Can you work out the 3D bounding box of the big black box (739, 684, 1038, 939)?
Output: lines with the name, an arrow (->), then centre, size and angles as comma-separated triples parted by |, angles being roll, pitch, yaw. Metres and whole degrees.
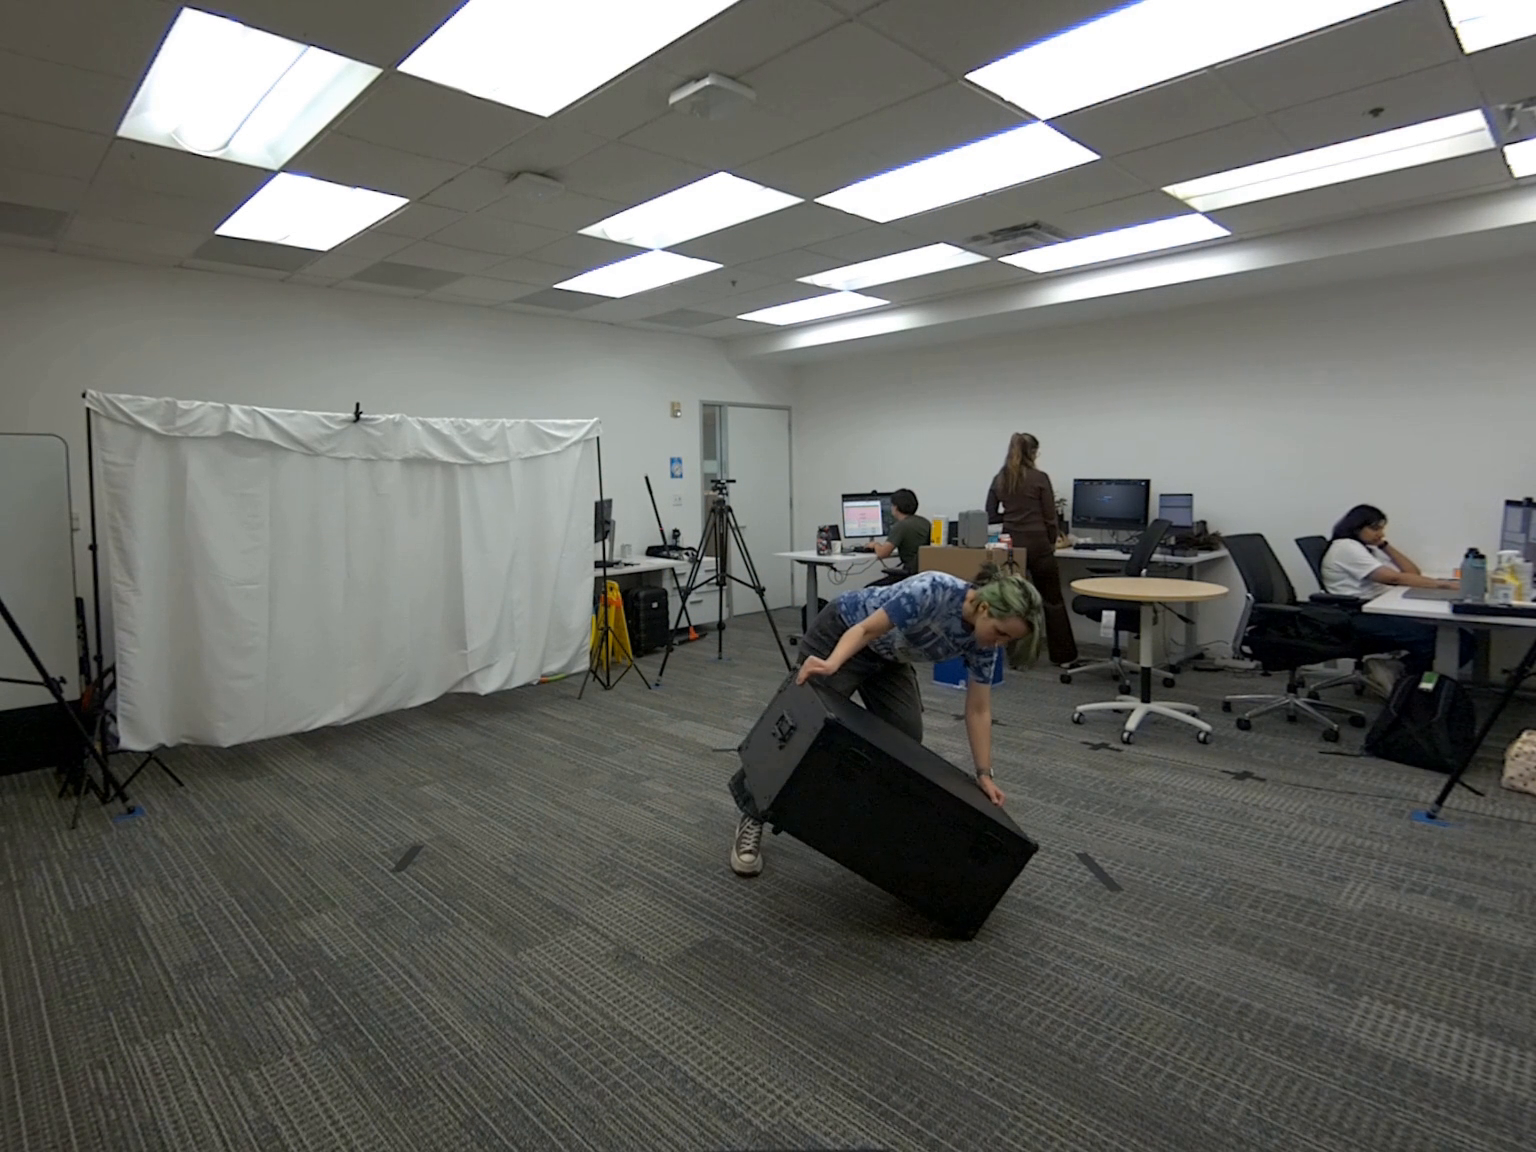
big black box -> 0.320, 0.695, 2.713 | 0.849, 0.396, 0.530 | 34, 5, -12
